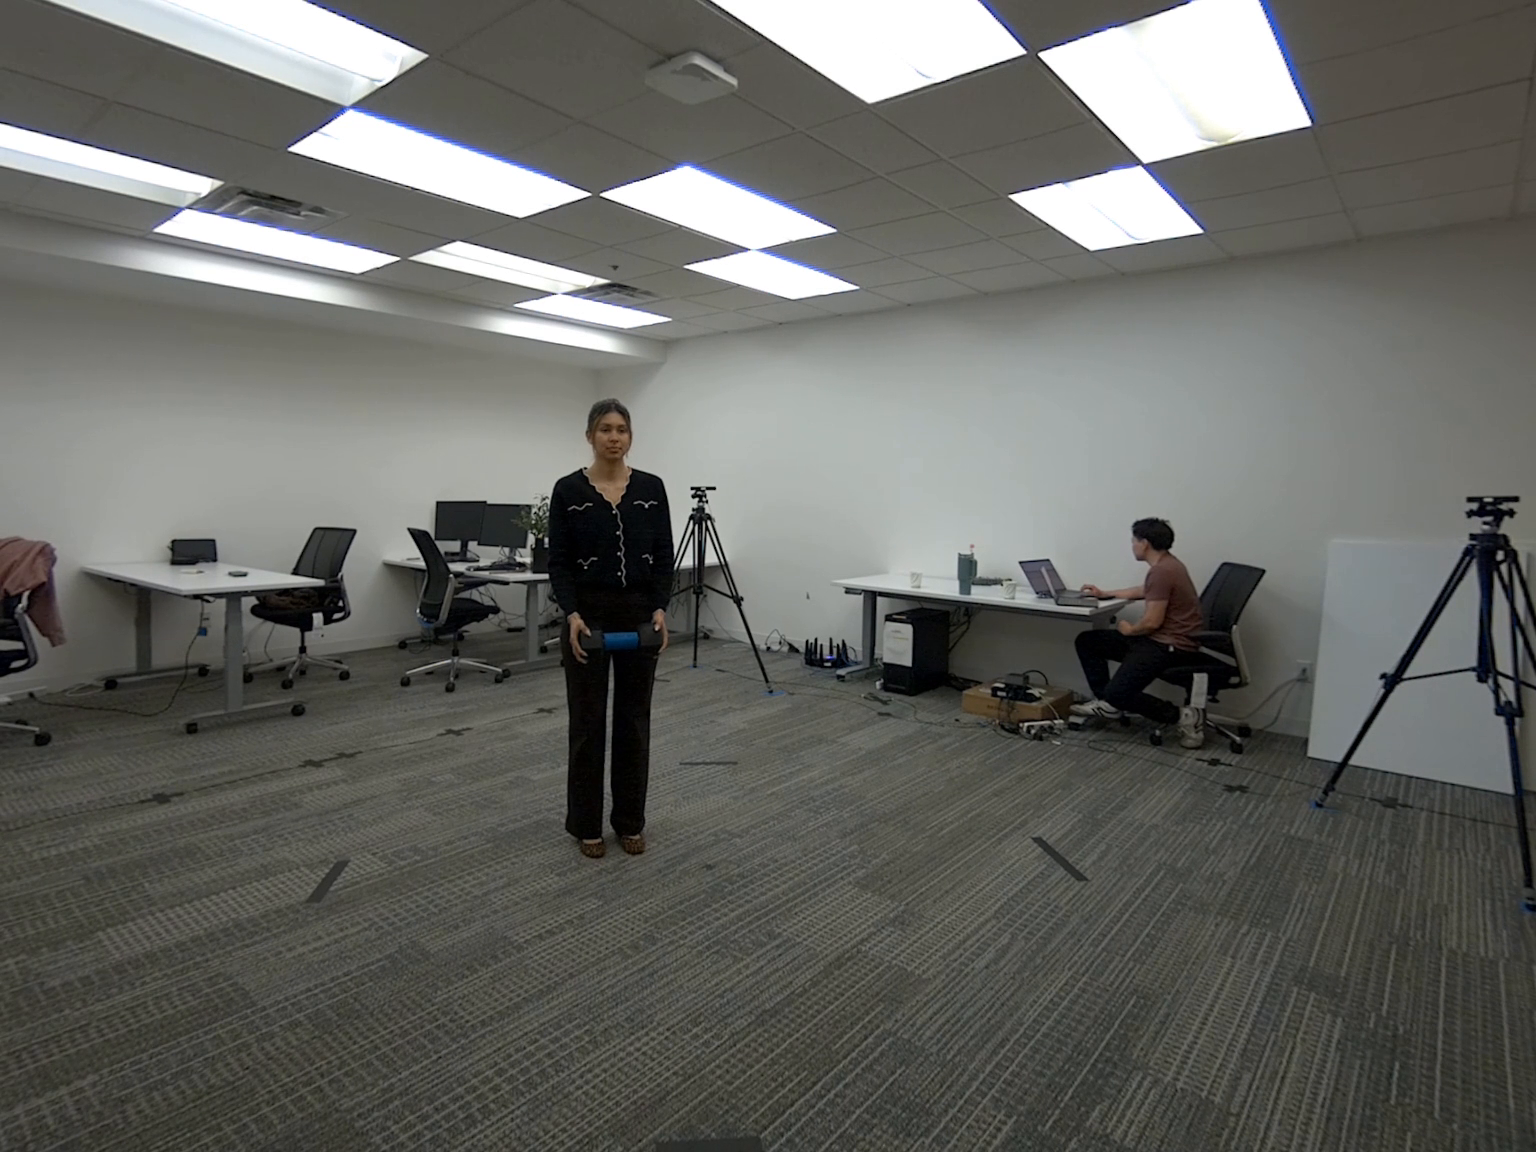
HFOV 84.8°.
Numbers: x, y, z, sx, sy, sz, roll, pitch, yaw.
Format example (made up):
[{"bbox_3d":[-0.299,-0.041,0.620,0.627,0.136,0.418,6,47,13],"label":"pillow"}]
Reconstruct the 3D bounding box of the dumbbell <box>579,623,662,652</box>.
[{"bbox_3d":[-0.554,0.222,3.051,0.290,0.124,0.108,0,-12,-10],"label":"dumbbell"}]
